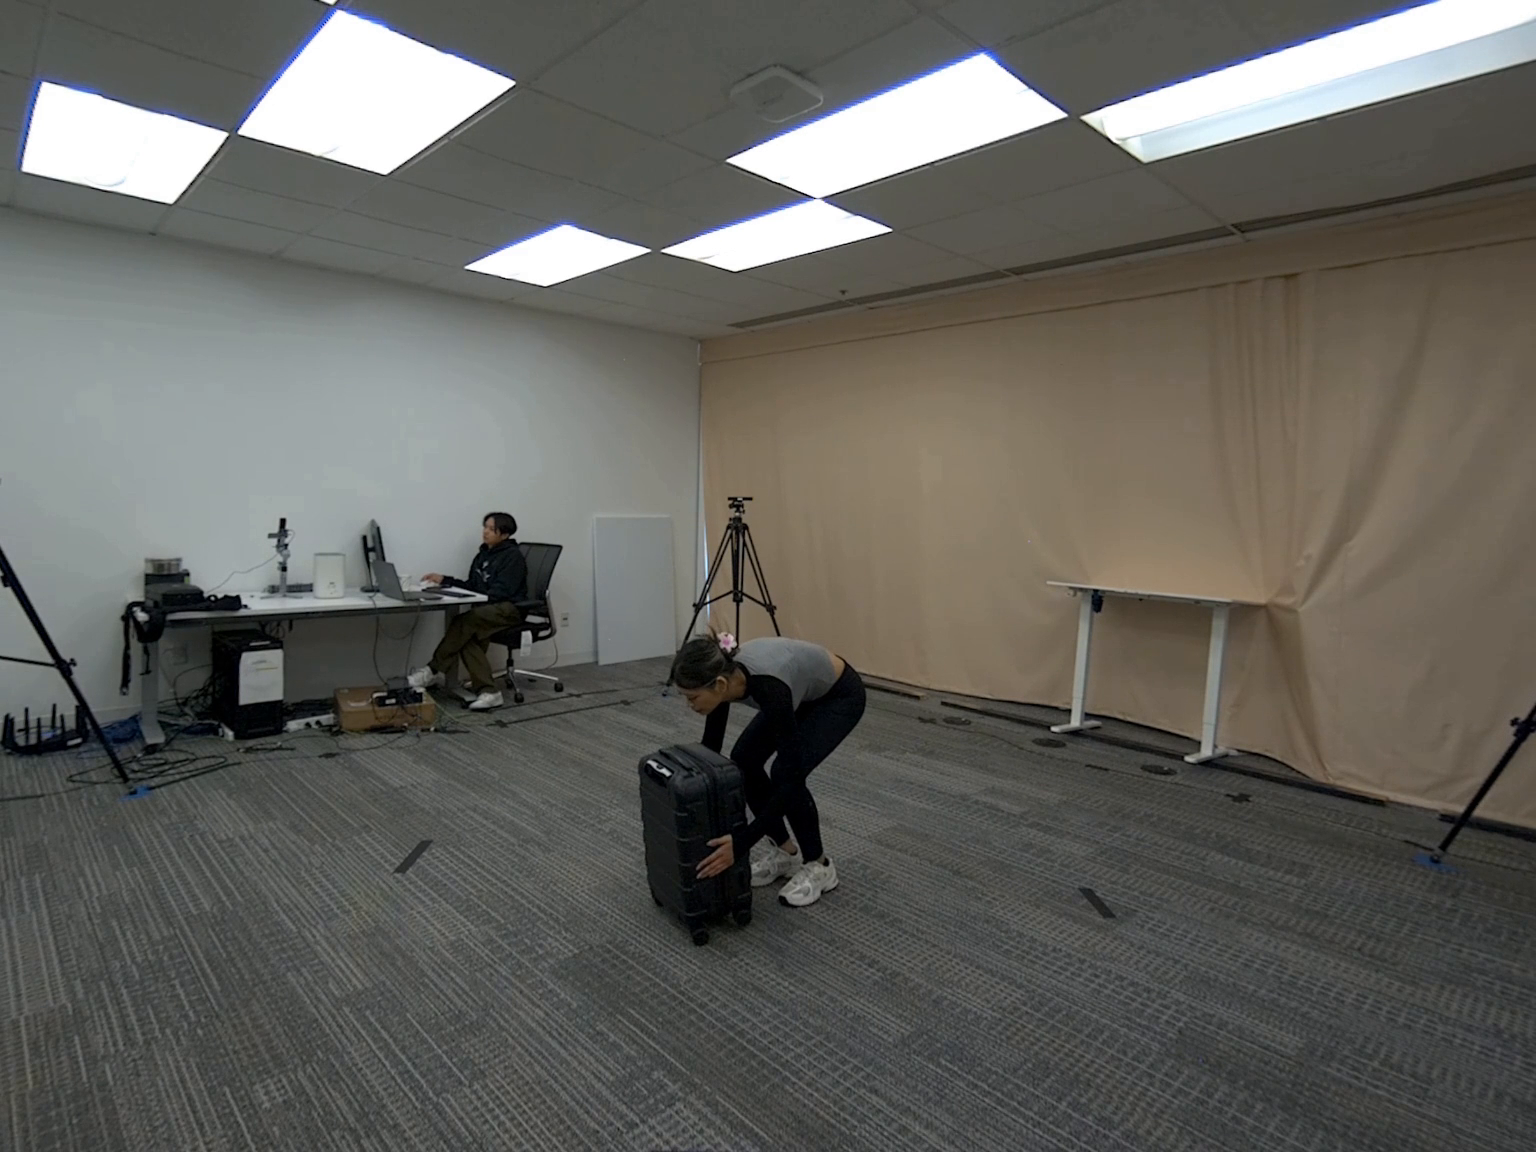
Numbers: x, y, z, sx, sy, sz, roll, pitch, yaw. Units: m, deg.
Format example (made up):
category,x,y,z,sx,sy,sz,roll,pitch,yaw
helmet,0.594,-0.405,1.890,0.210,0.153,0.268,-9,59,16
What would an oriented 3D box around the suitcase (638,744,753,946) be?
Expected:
category,x,y,z,sx,sy,sz,roll,pitch,yaw
suitcase,-0.249,0.851,2.775,0.244,0.547,0.384,-8,7,-30
